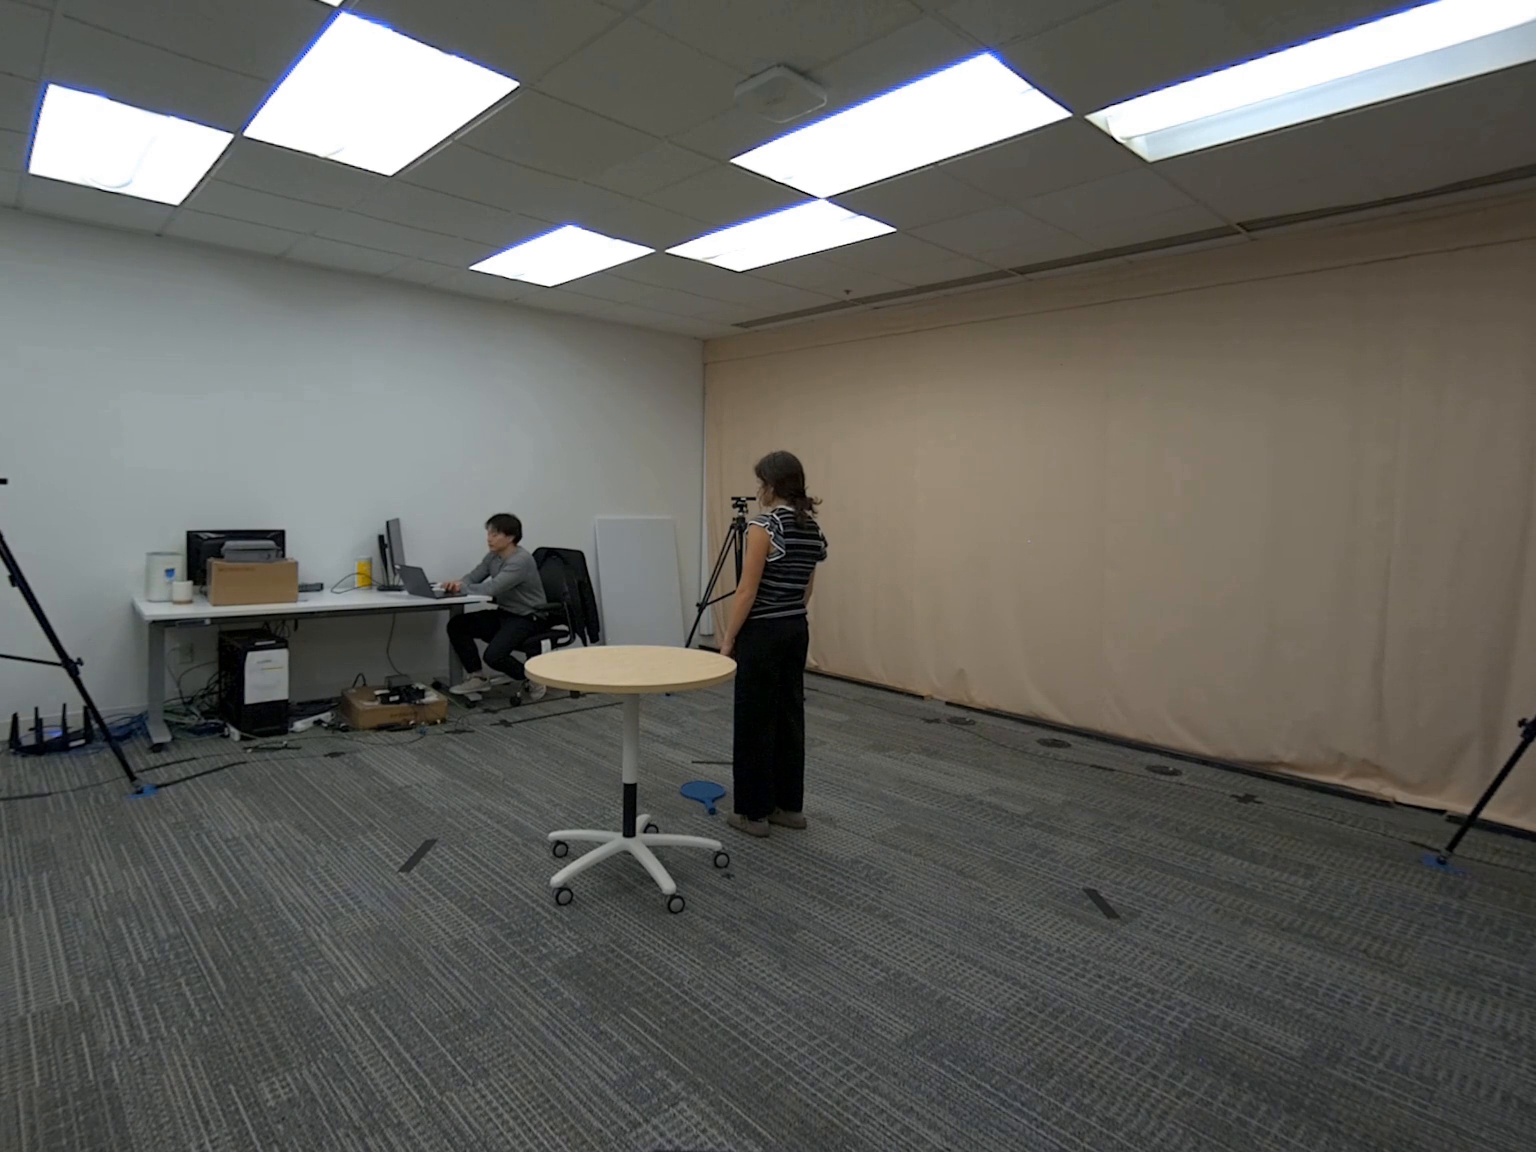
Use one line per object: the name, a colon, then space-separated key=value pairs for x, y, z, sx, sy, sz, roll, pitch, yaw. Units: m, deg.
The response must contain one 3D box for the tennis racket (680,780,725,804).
tennis racket: x=-0.302 y=1.018 z=3.910 sx=0.211 sy=0.032 sz=0.438 roll=0 pitch=4 yaw=-14
